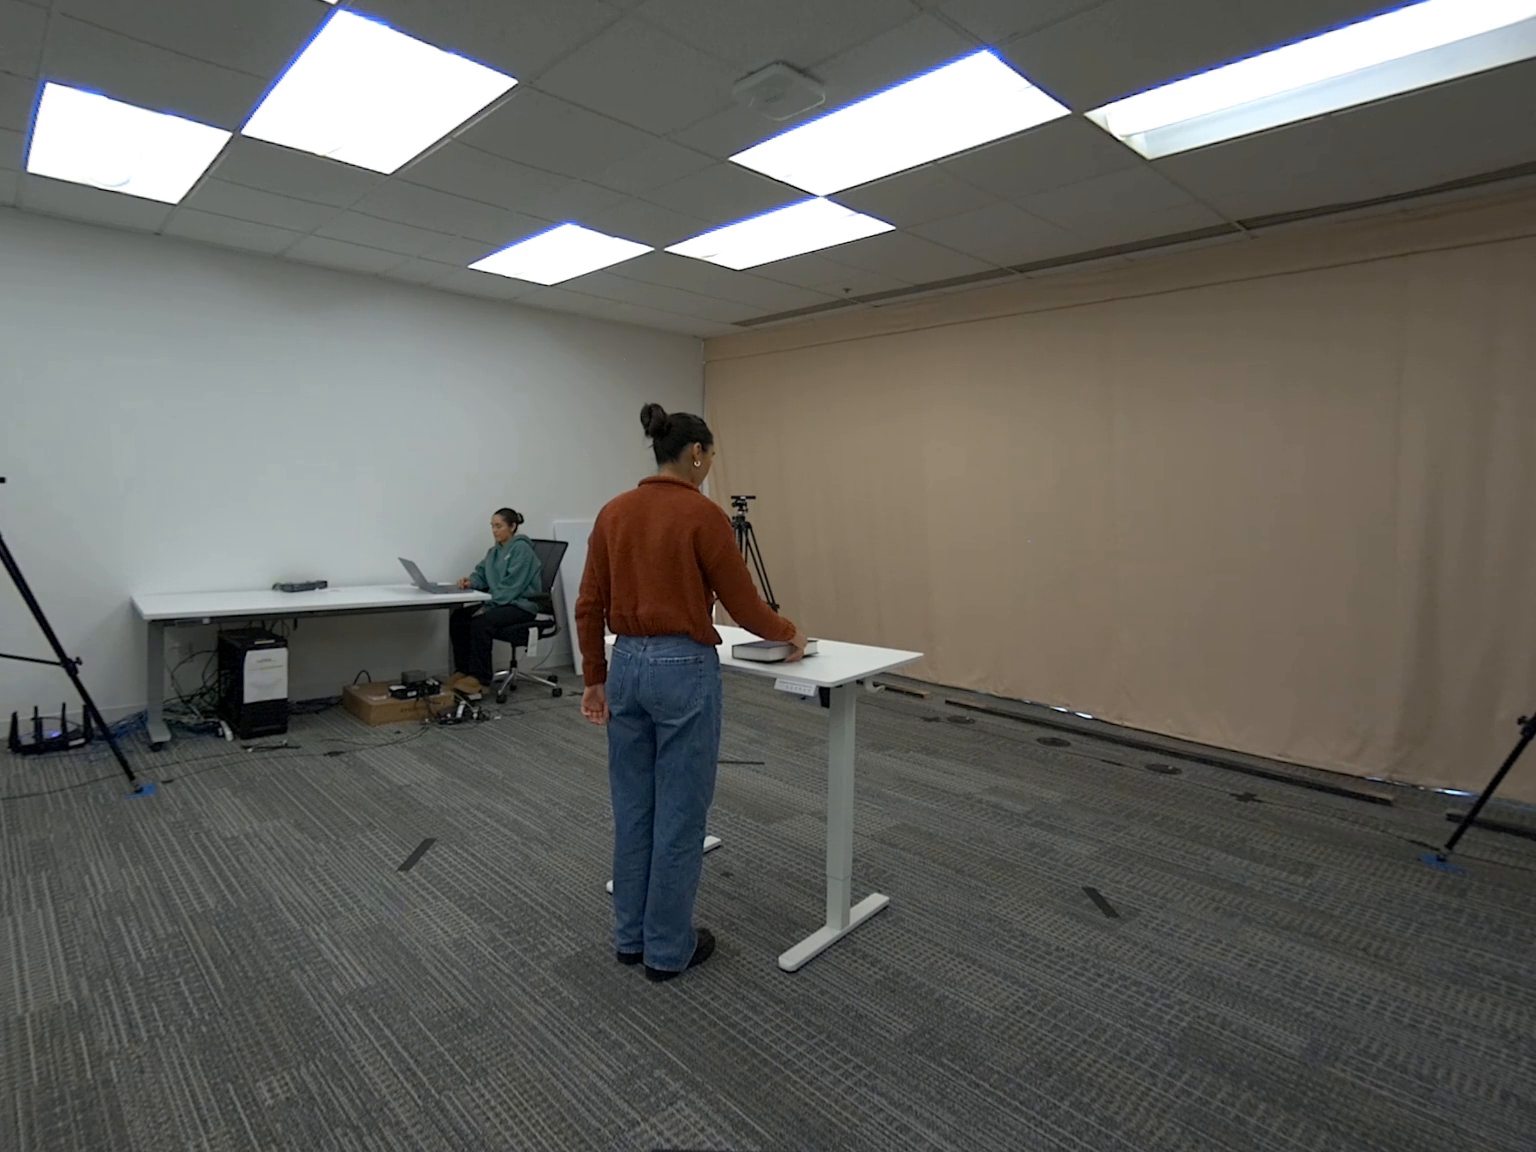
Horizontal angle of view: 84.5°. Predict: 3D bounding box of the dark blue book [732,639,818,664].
[{"bbox_3d":[0.004,0.241,2.697,0.167,0.045,0.239,3,4,42],"label":"dark blue book"}]
